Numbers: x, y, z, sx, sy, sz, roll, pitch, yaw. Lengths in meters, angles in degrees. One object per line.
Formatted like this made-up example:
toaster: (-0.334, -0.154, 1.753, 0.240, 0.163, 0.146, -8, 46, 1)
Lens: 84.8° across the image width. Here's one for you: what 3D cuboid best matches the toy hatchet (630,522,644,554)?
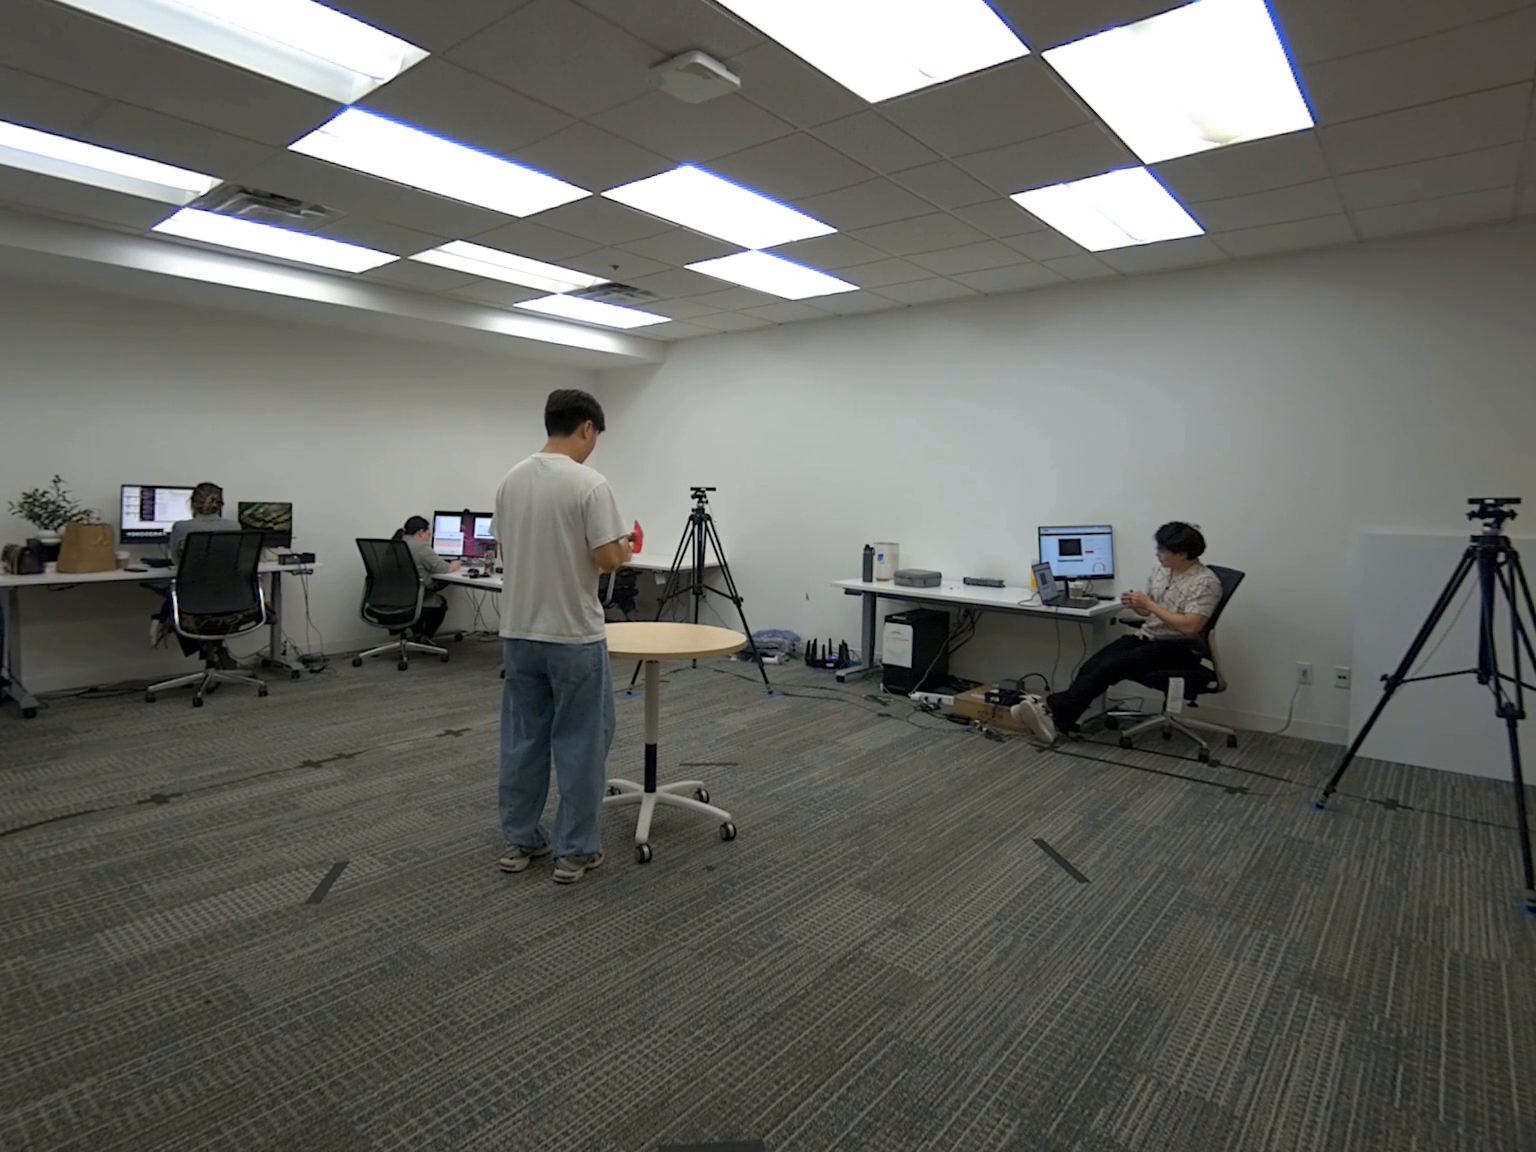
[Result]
toy hatchet: (-0.581, -0.052, 3.325, 0.030, 0.126, 0.272, -4, 41, 37)
